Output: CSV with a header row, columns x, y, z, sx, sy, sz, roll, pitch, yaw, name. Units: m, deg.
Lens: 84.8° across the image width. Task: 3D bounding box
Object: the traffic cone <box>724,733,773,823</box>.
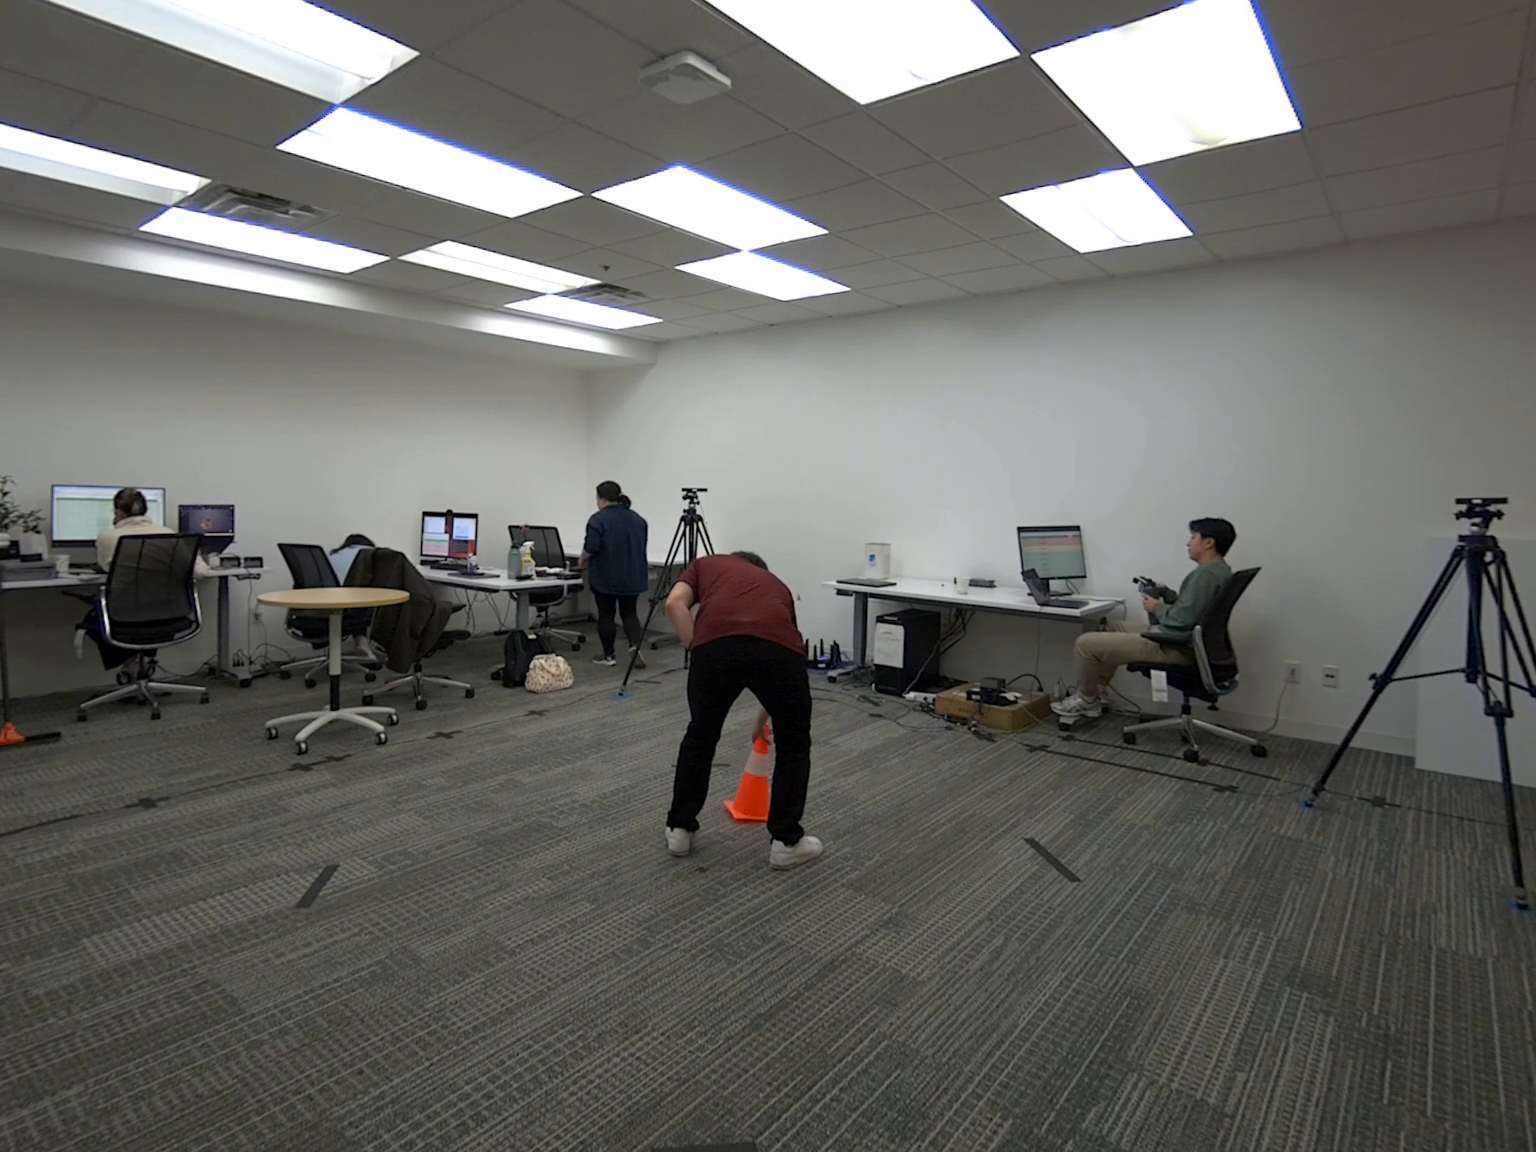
x,y,z,sx,sy,sz,roll,pitch,yaw,name
-0.055,0.820,3.657,0.199,0.384,0.209,9,0,-18,traffic cone
